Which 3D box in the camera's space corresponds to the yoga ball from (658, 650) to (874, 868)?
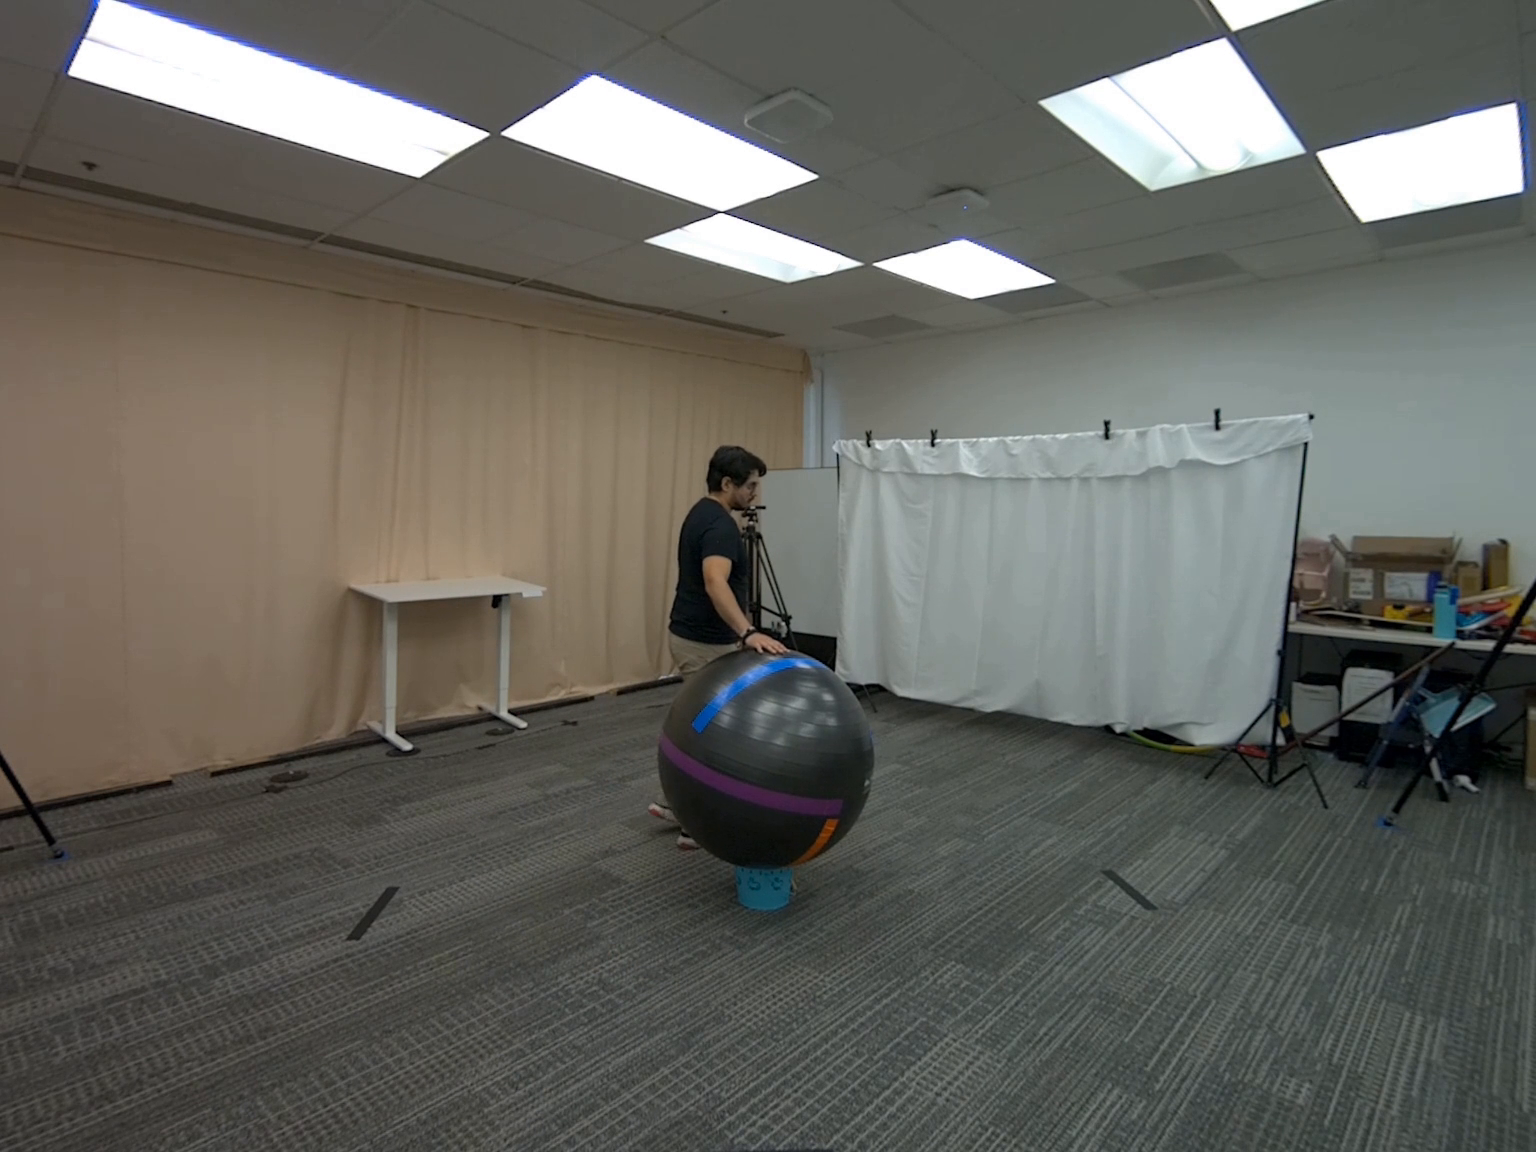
[{"bbox_3d":[-0.002,0.635,2.970,0.757,0.756,0.760,0,4,-2],"label":"yoga ball"}]
